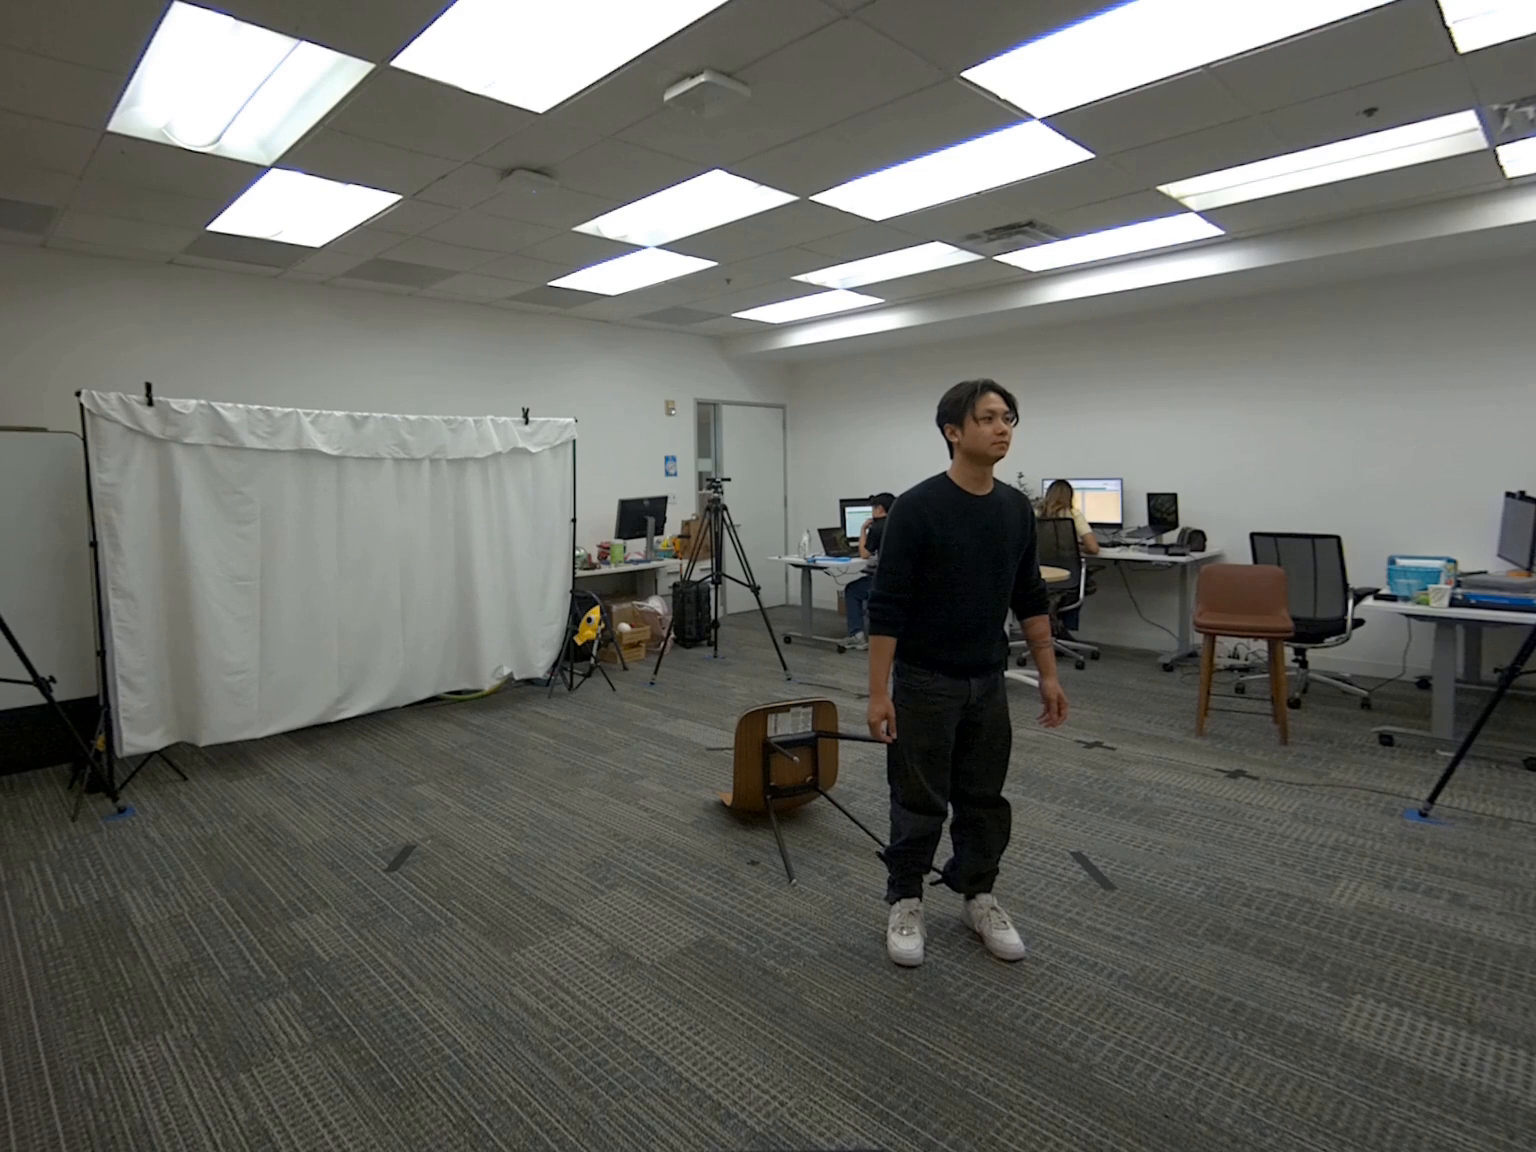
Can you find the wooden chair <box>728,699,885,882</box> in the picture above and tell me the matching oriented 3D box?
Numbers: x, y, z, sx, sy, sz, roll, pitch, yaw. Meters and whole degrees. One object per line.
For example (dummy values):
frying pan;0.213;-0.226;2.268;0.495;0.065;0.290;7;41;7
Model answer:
wooden chair;0.100;0.752;3.374;0.468;0.521;0.899;-3;5;-25
